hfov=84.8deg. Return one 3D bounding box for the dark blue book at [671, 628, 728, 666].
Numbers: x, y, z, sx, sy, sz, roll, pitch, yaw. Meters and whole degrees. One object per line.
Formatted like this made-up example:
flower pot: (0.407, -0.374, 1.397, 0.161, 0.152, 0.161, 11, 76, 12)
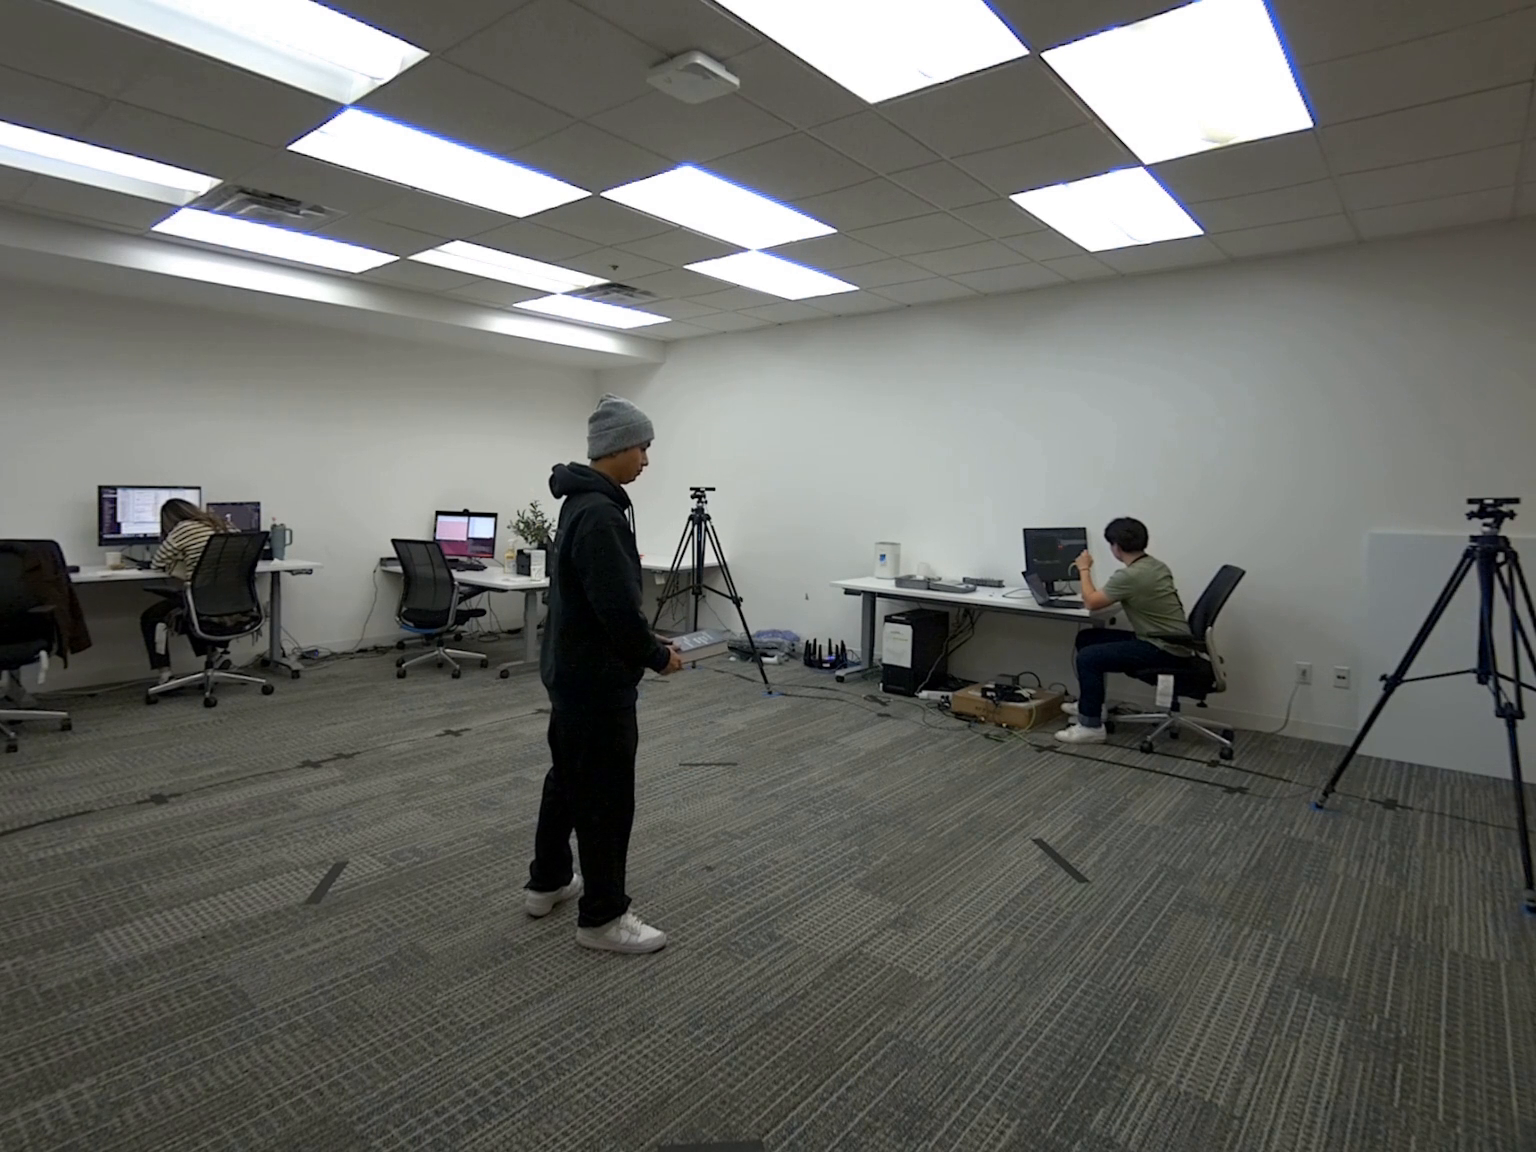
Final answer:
dark blue book: (-0.289, 0.237, 2.762, 0.241, 0.044, 0.168, -11, 15, -18)
